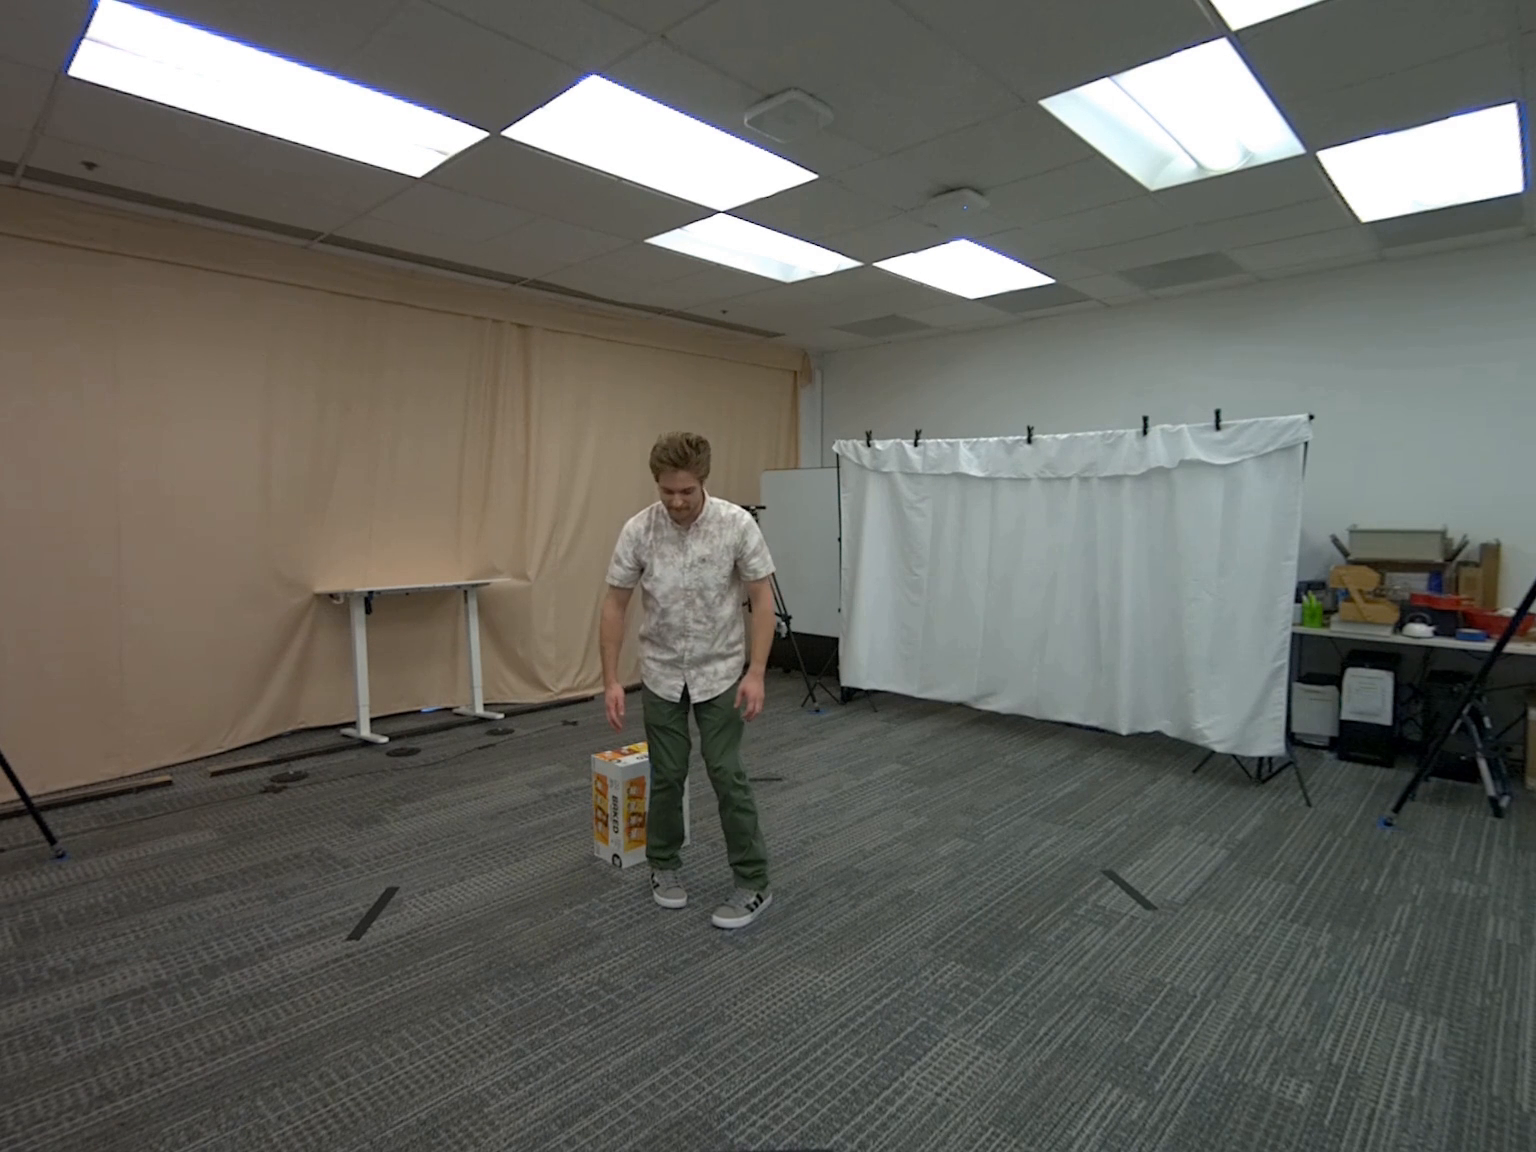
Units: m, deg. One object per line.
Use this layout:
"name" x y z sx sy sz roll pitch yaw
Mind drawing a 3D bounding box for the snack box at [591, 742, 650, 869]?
"snack box" -0.514 0.910 3.406 0.330 0.404 0.212 -4 5 -44
